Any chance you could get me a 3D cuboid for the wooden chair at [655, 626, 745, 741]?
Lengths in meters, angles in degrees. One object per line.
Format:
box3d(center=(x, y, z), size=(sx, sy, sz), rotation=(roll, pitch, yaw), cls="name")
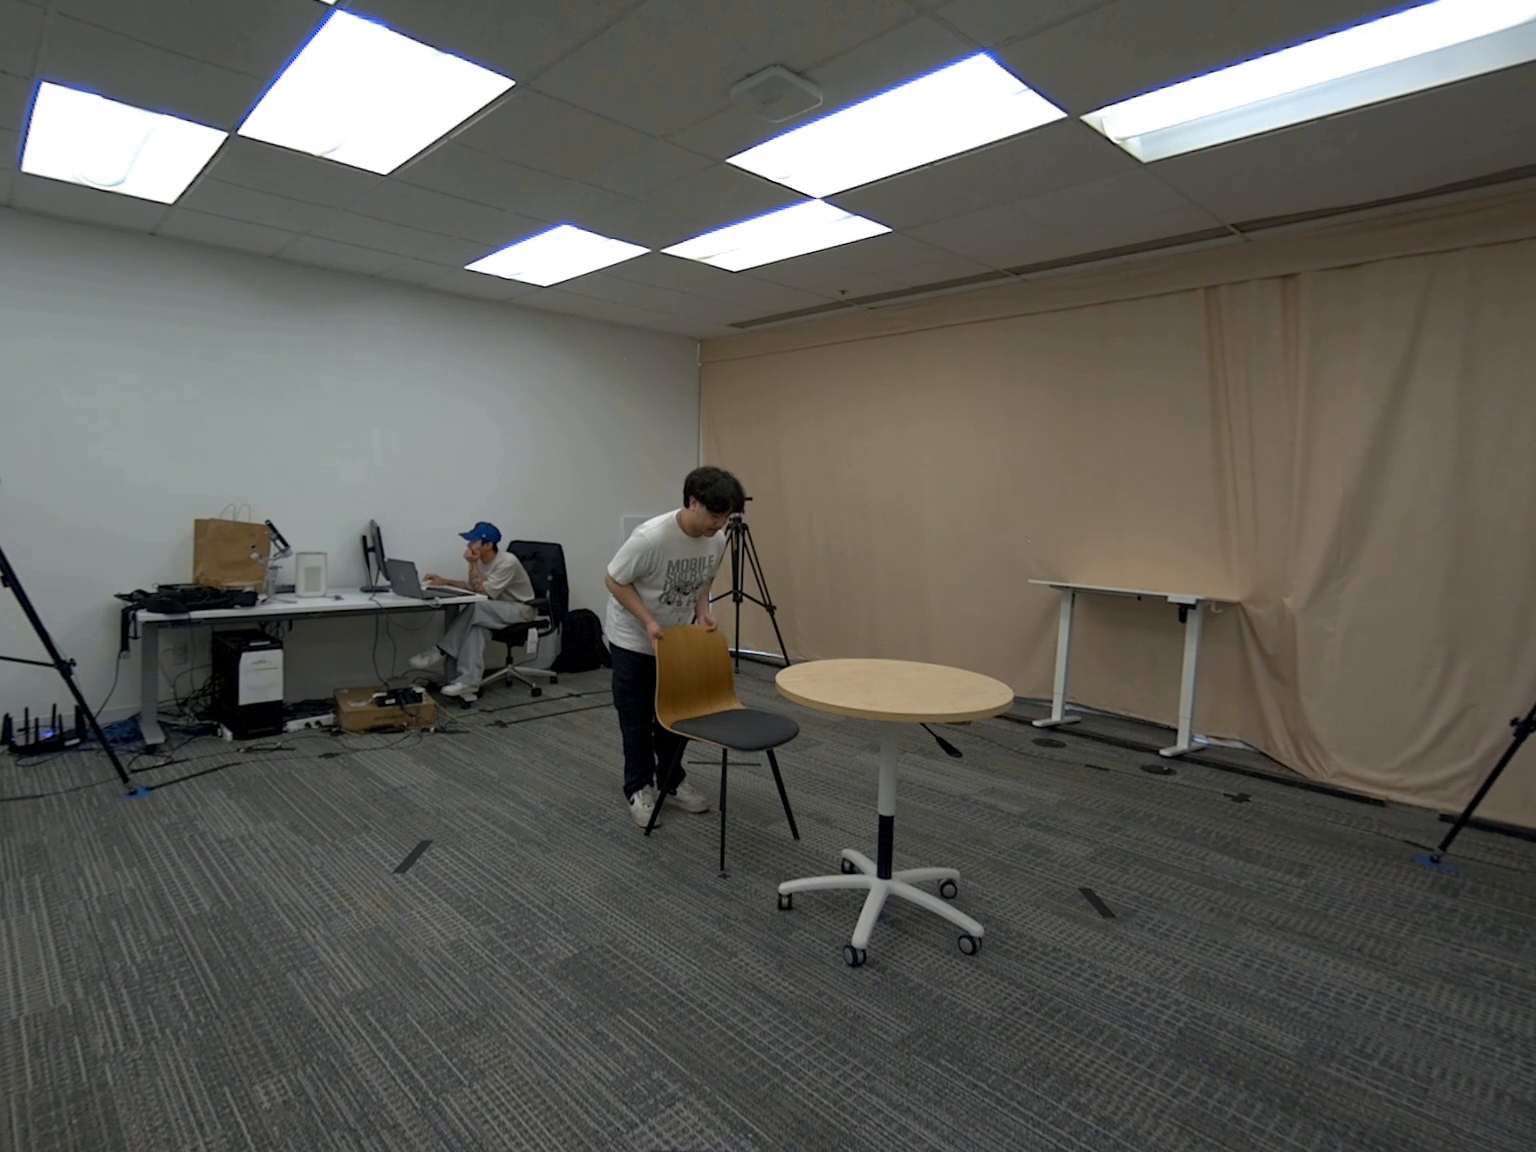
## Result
box3d(center=(-0.175, 0.651, 3.421), size=(0.535, 0.877, 0.467), rotation=(-2, 0, 44), cls="wooden chair")
